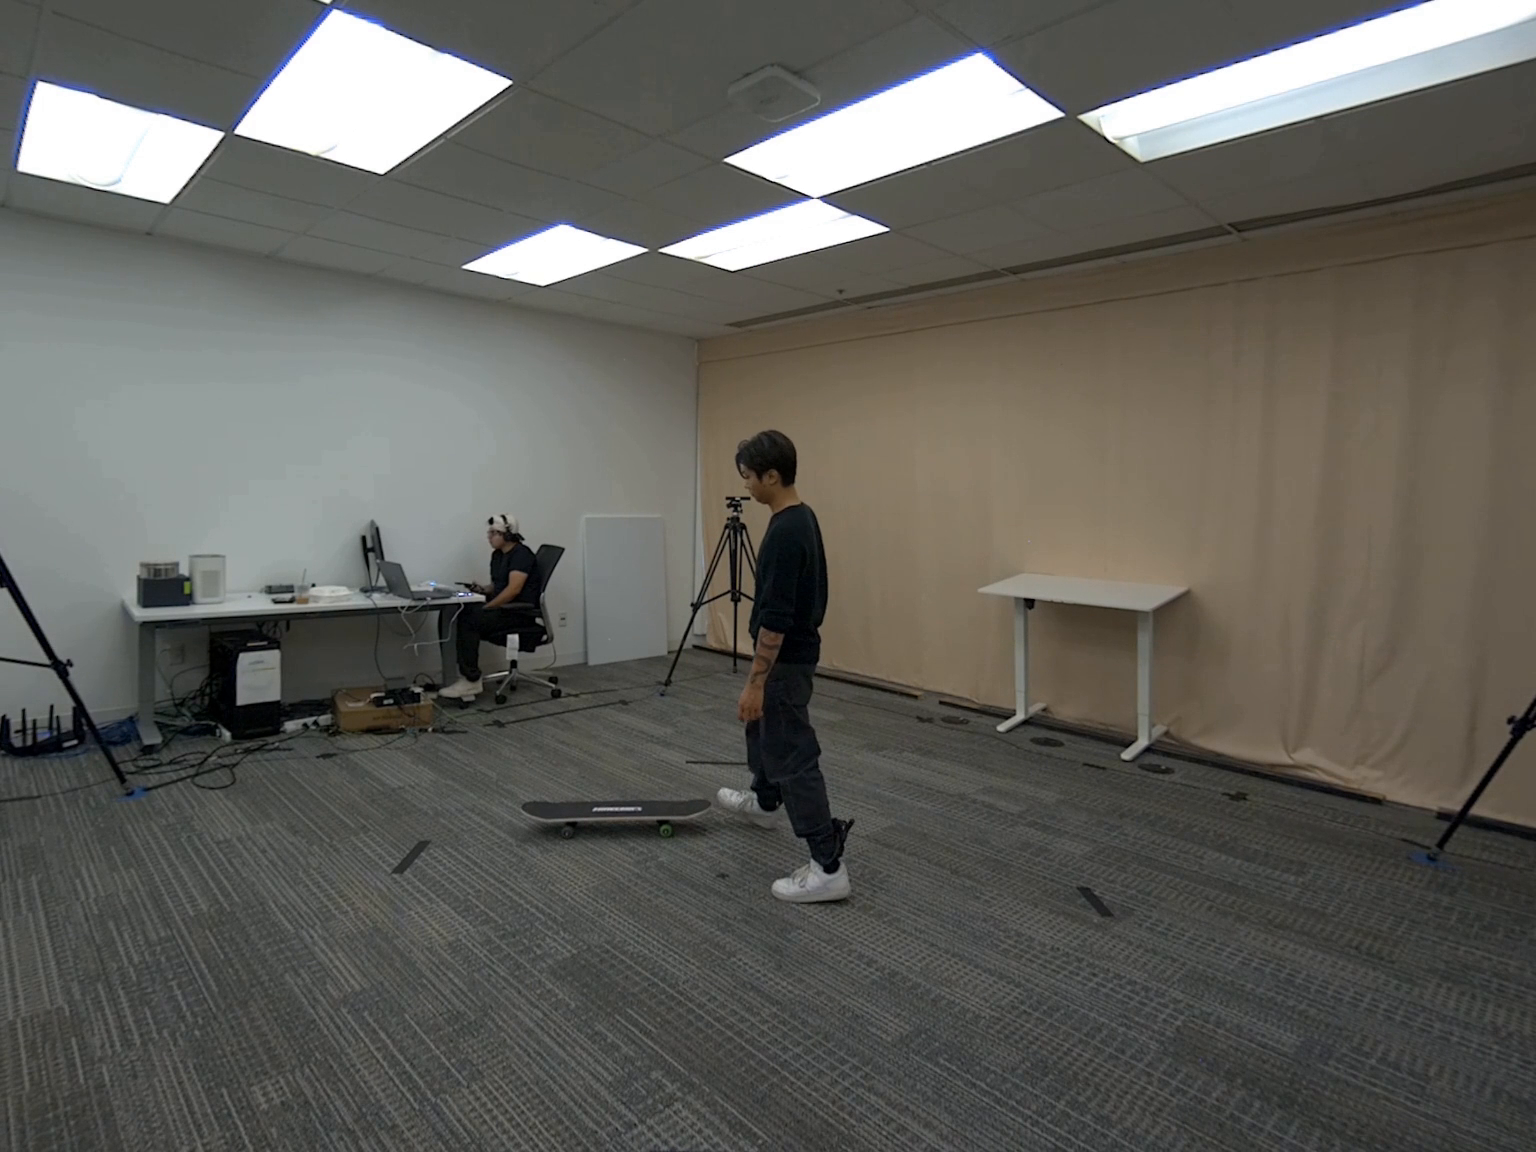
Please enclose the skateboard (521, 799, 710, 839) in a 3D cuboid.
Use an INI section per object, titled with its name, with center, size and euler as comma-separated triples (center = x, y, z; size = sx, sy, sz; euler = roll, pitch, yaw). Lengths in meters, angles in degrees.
[skateboard]
center = -0.627, 1.000, 3.506
size = 0.781, 0.110, 0.195
euler = 1, 5, -6
